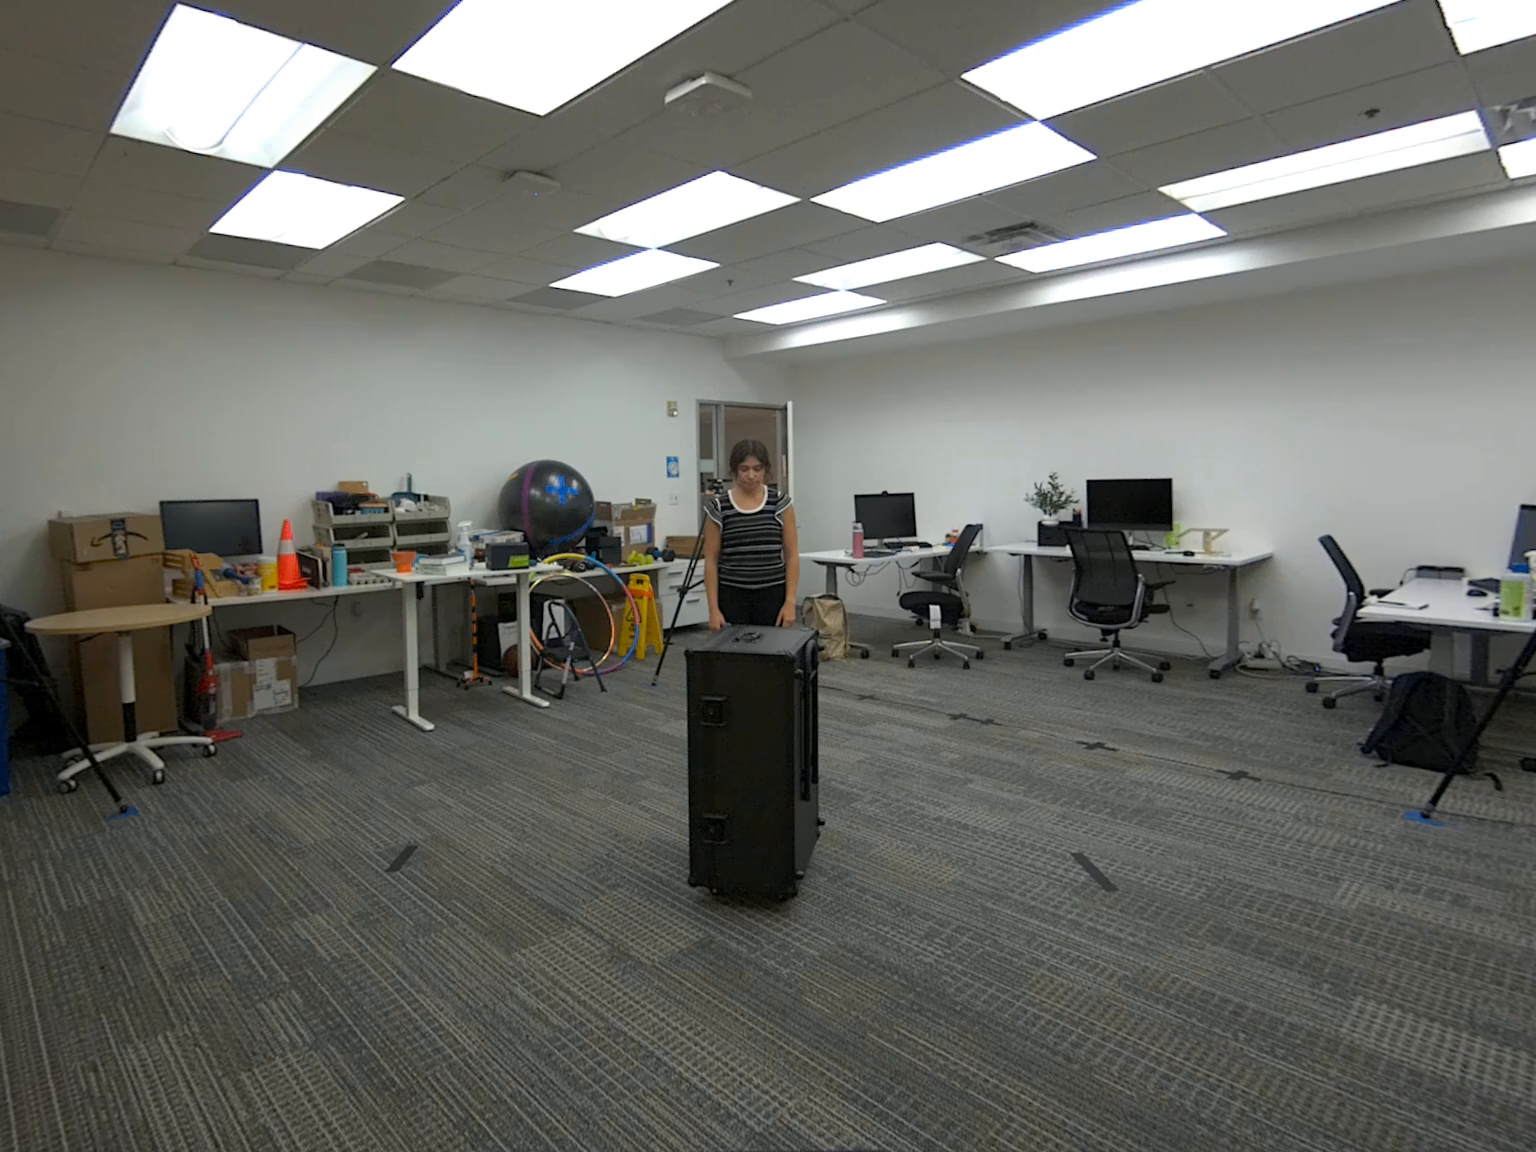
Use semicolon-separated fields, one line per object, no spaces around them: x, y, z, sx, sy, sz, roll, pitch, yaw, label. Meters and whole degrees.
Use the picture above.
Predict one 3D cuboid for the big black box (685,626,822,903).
-0.030;0.640;2.957;0.402;0.858;0.515;2;5;14;big black box
